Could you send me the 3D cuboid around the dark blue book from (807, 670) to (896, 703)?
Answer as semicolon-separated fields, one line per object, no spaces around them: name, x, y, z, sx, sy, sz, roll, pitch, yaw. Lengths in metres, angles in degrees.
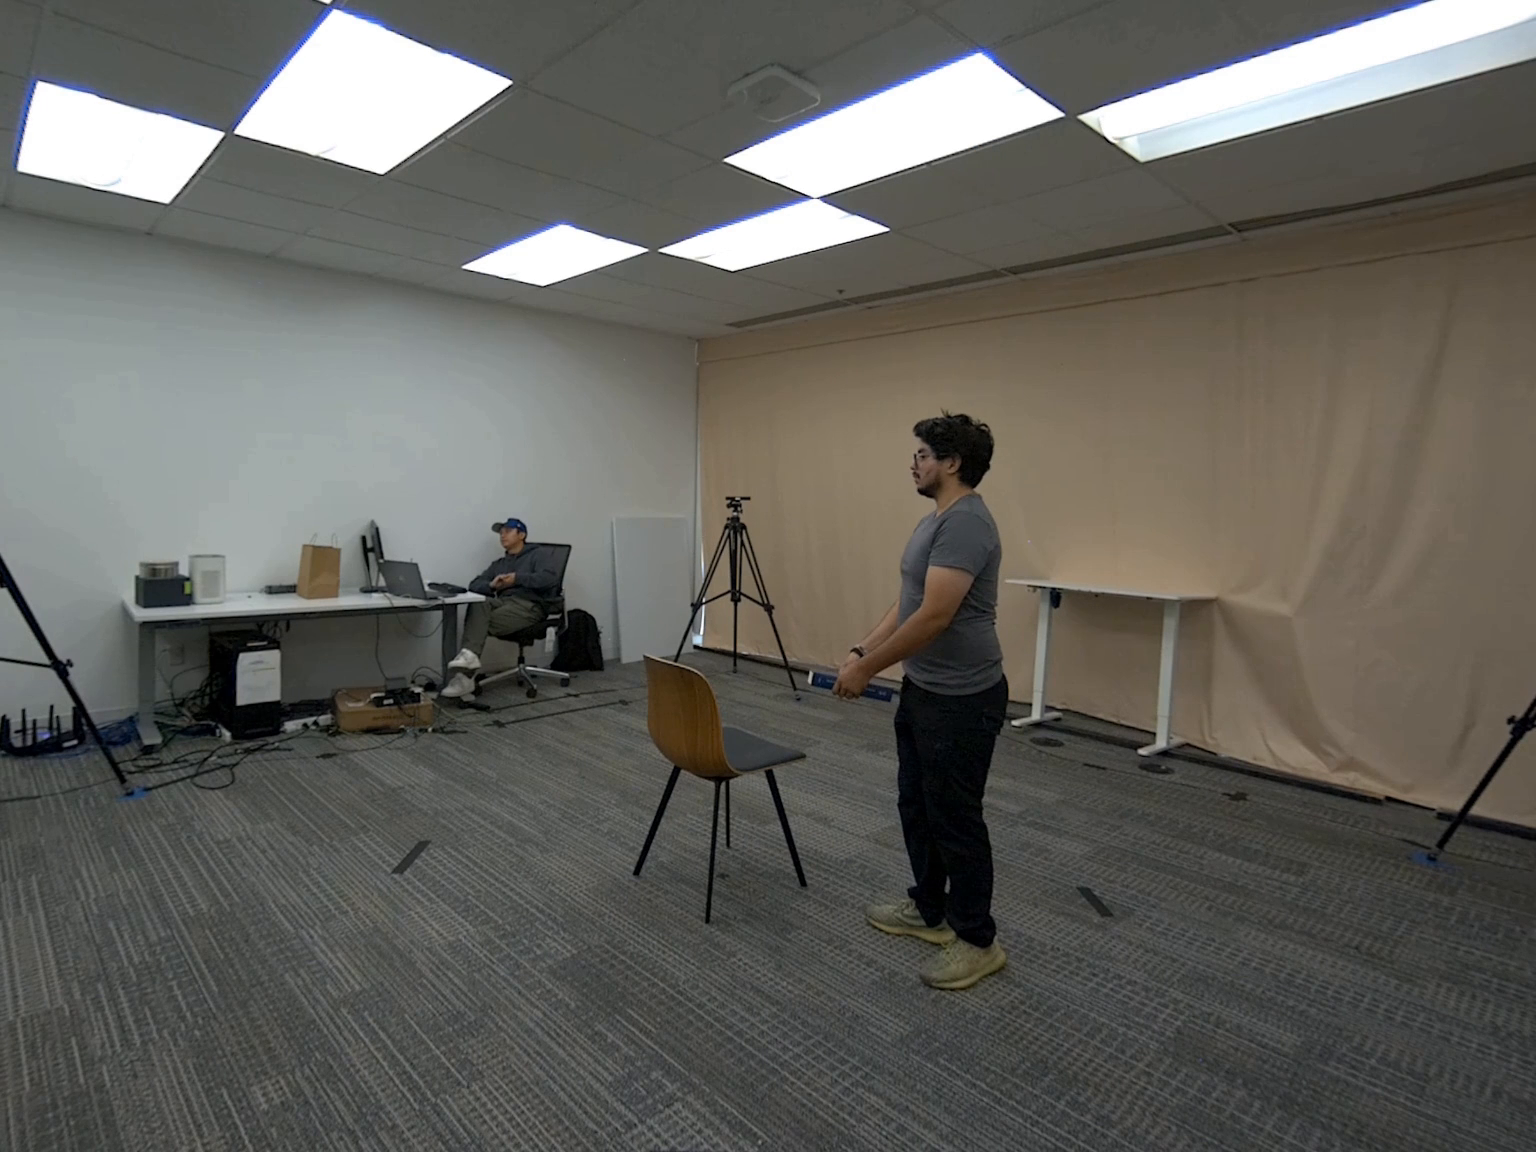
dark blue book;0.251;0.339;2.573;0.247;0.045;0.162;13;-1;7
